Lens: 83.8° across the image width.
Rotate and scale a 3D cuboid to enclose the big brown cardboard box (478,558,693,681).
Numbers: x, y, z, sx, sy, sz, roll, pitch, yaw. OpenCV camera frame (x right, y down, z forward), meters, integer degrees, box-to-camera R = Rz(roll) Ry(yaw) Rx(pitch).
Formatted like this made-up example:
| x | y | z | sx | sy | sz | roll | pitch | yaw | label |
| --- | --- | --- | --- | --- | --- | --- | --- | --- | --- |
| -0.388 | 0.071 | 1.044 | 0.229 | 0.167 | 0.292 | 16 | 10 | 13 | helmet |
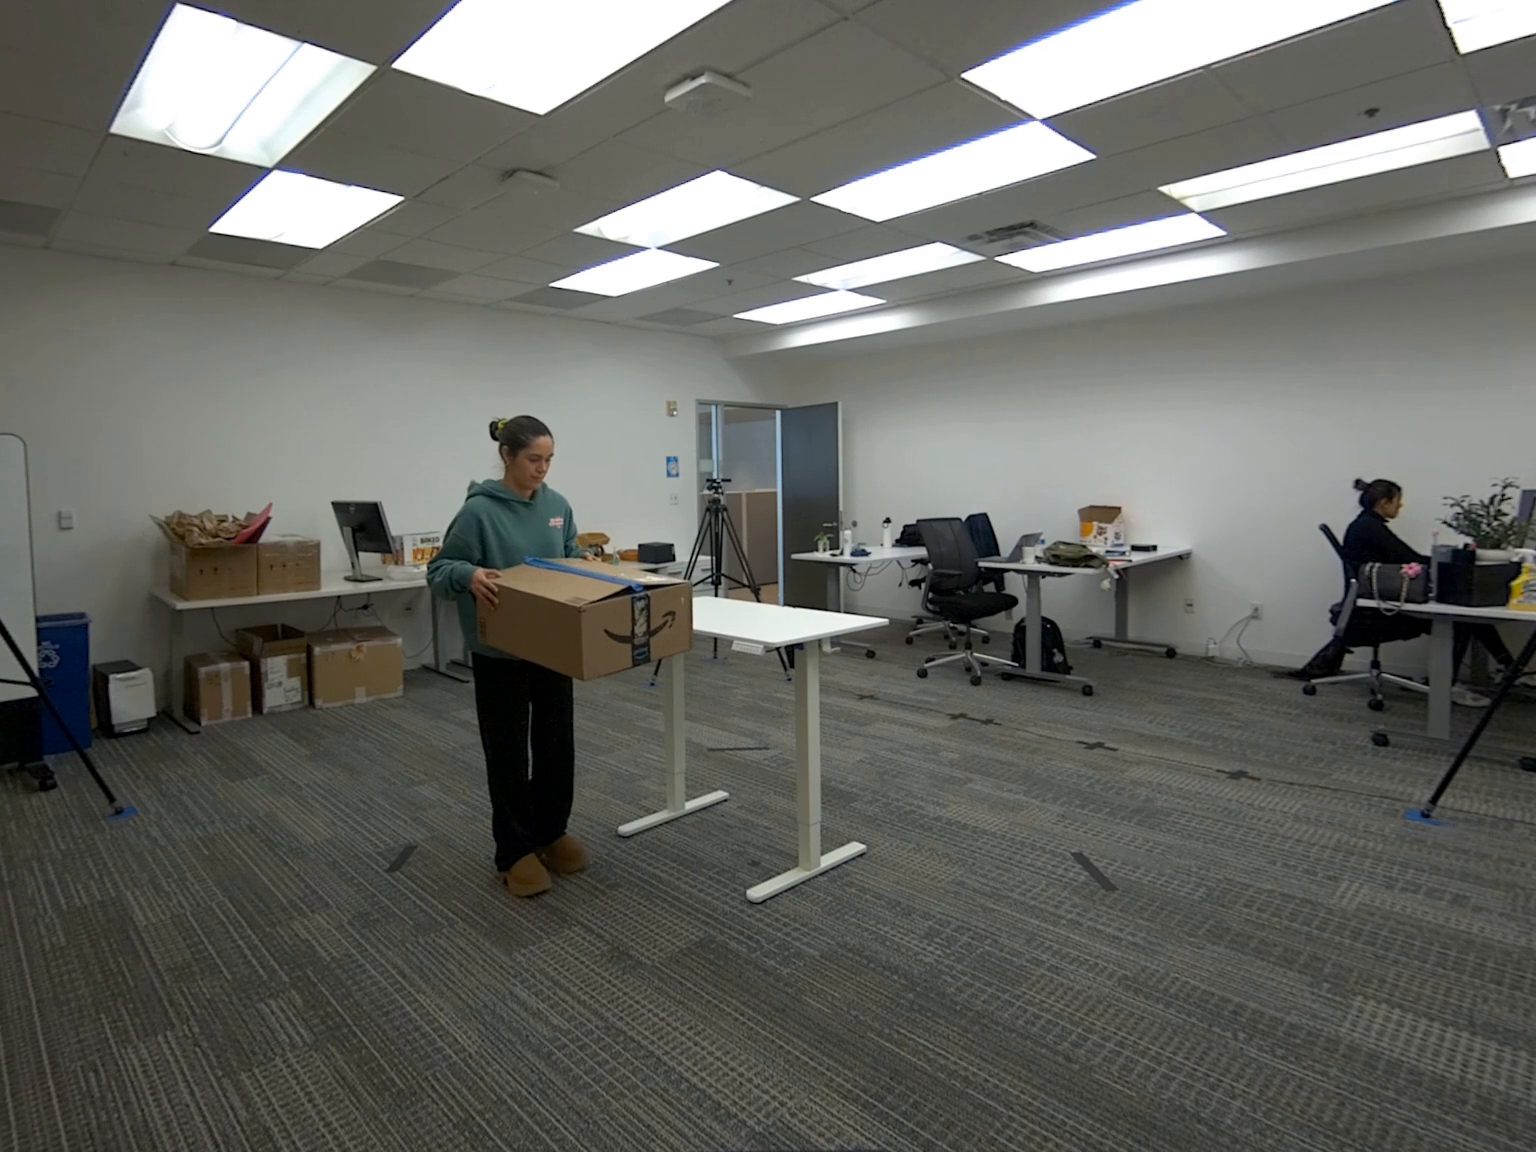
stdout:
| x | y | z | sx | sy | sz | roll | pitch | yaw | label |
| --- | --- | --- | --- | --- | --- | --- | --- | --- | --- |
| -0.567 | 0.112 | 2.653 | 0.608 | 0.231 | 0.407 | 9 | 14 | 43 | big brown cardboard box |
